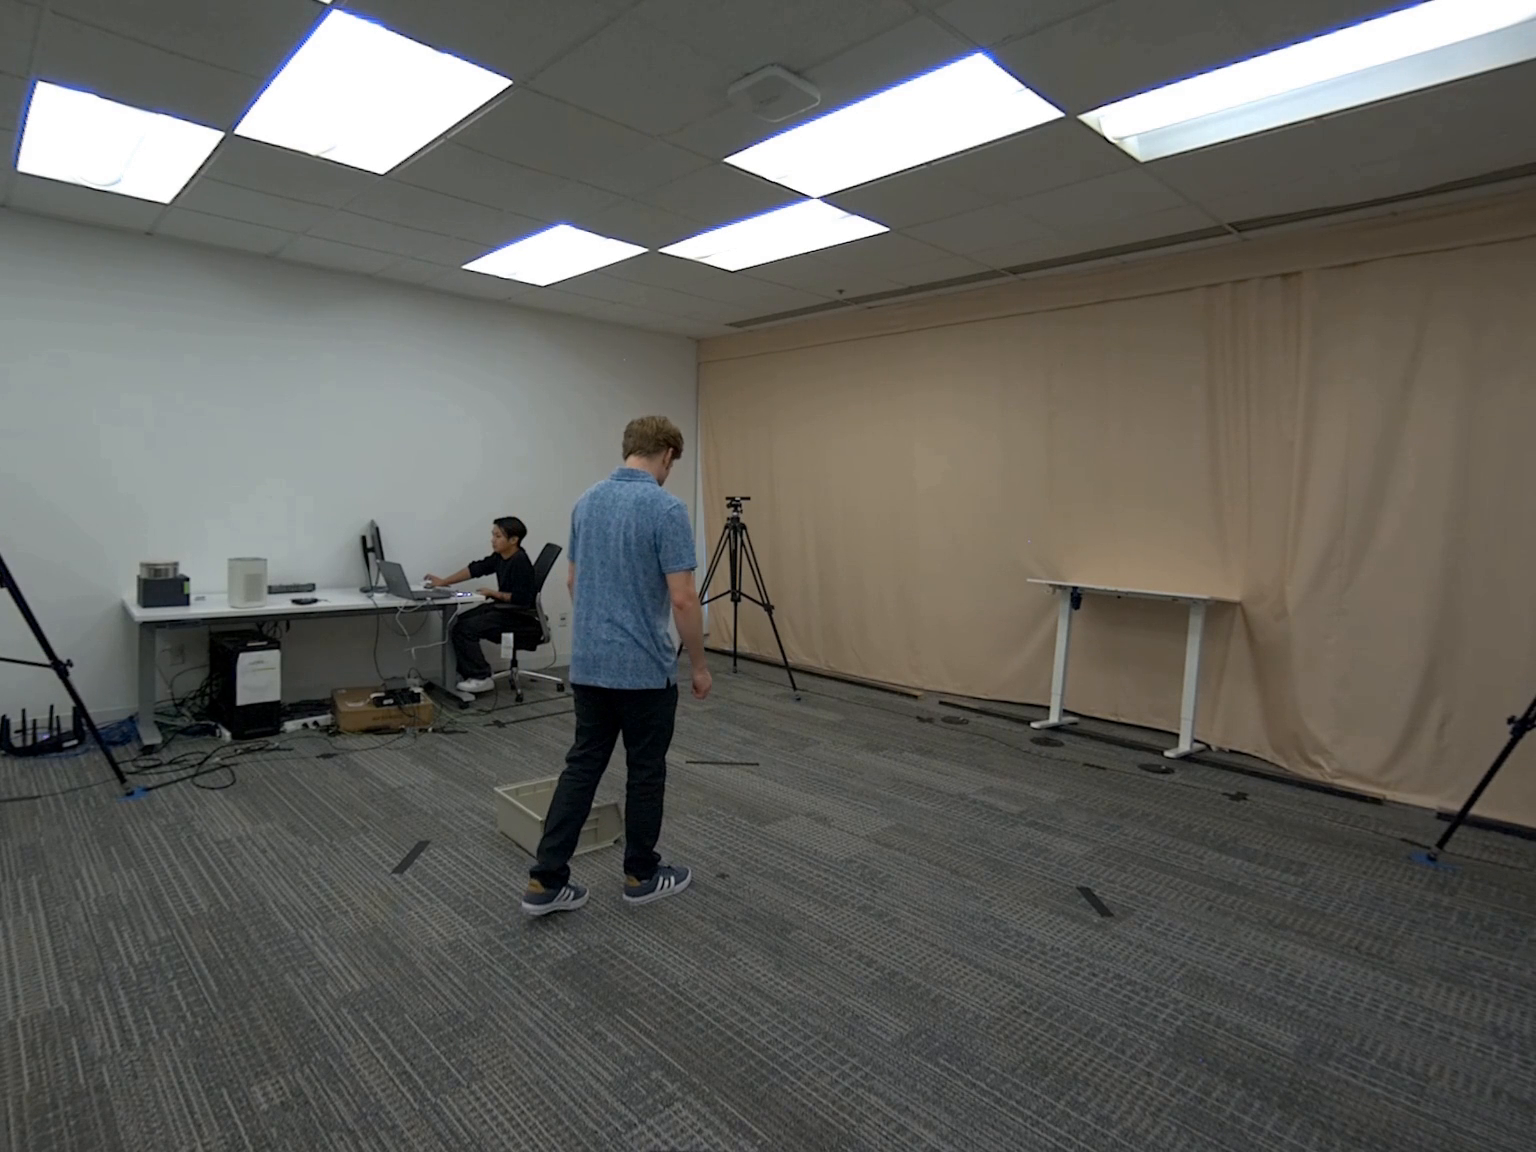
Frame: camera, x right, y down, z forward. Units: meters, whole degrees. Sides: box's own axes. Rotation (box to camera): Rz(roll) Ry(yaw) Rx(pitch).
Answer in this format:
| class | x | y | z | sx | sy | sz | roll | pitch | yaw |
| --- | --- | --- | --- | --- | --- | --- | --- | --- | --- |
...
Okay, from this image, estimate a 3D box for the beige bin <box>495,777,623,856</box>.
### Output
| class | x | y | z | sx | sy | sz | roll | pitch | yaw |
| --- | --- | --- | --- | --- | --- | --- | --- | --- | --- |
| beige bin | -0.857 | 0.976 | 3.425 | 0.369 | 0.188 | 0.433 | -4 | 8 | -41 |
